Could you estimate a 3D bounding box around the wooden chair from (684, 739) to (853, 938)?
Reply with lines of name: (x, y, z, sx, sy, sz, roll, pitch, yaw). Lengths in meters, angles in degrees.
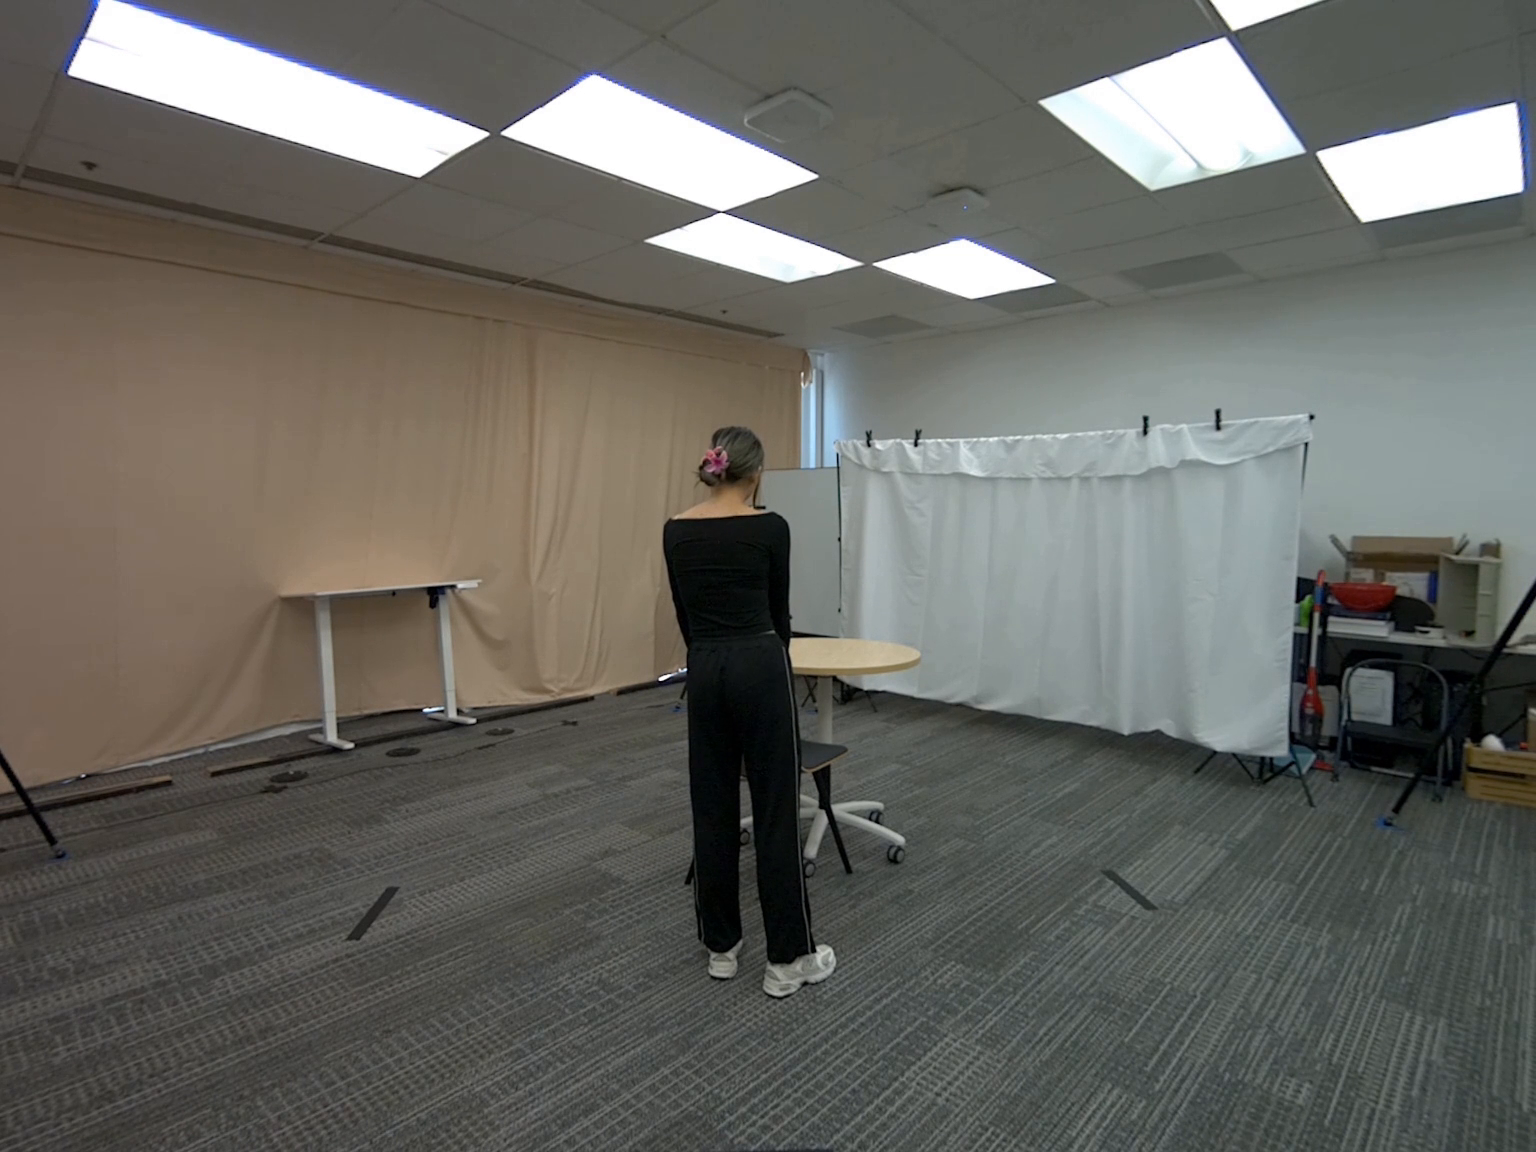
wooden chair: (0.003, 0.700, 3.111, 0.493, 0.873, 0.509, 2, 8, 37)
